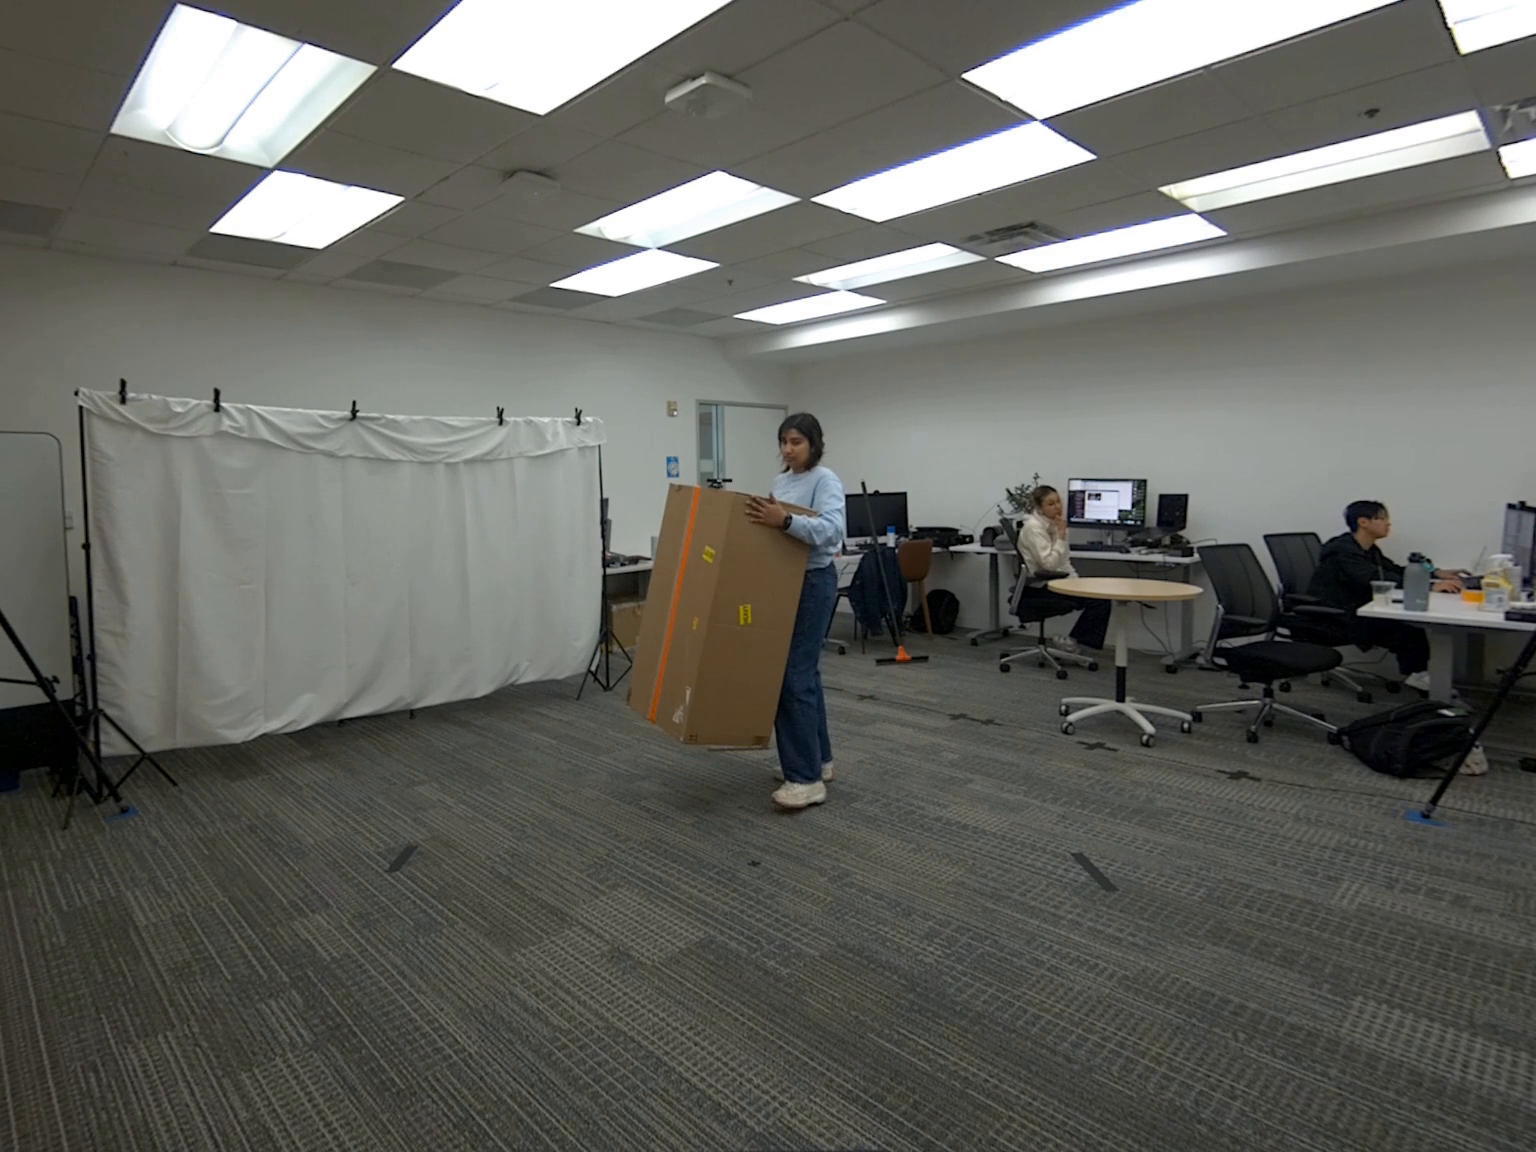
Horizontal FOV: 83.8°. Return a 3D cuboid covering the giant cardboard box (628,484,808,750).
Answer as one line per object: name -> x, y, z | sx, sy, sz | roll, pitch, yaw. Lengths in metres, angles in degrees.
giant cardboard box -> -0.232, 0.158, 3.713 | 0.413, 1.025, 0.596 | 11, 1, -33
